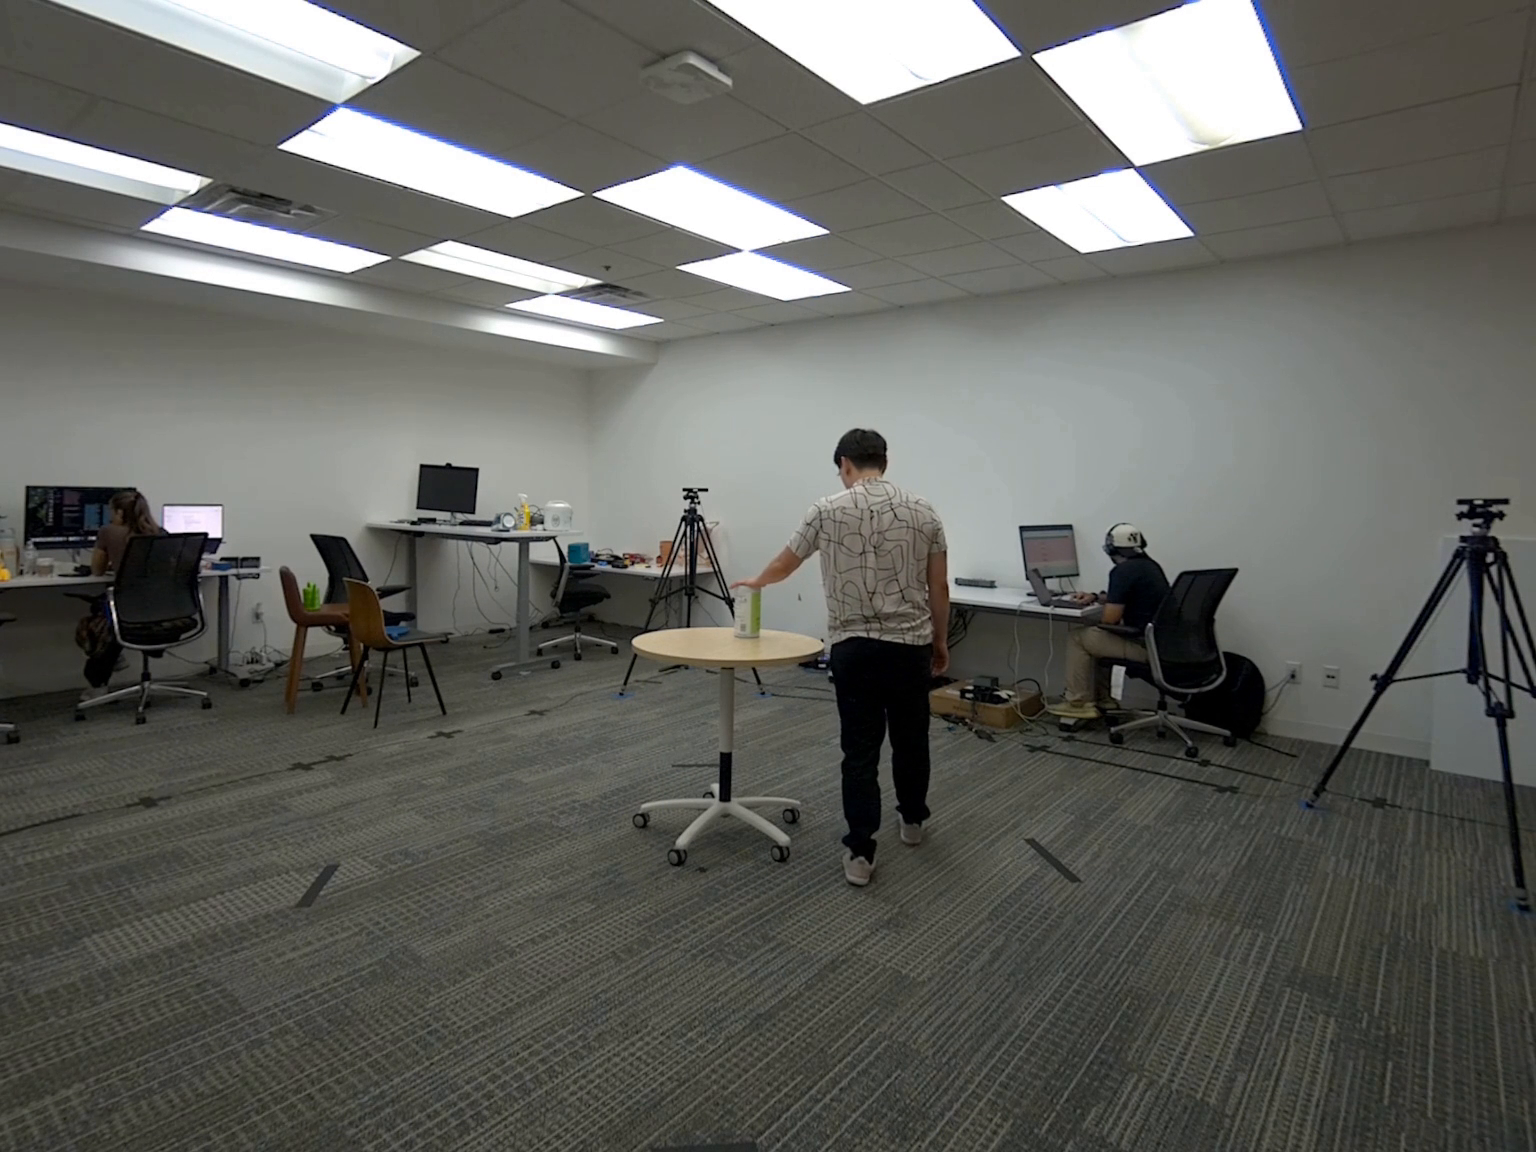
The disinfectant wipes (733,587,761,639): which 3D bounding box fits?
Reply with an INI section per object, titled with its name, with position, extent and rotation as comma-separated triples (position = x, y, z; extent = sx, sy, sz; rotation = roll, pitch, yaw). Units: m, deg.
[disinfectant wipes]
position = -0.099, 0.147, 3.550
extent = 0.117, 0.217, 0.118
rotation = 3, 2, -2
